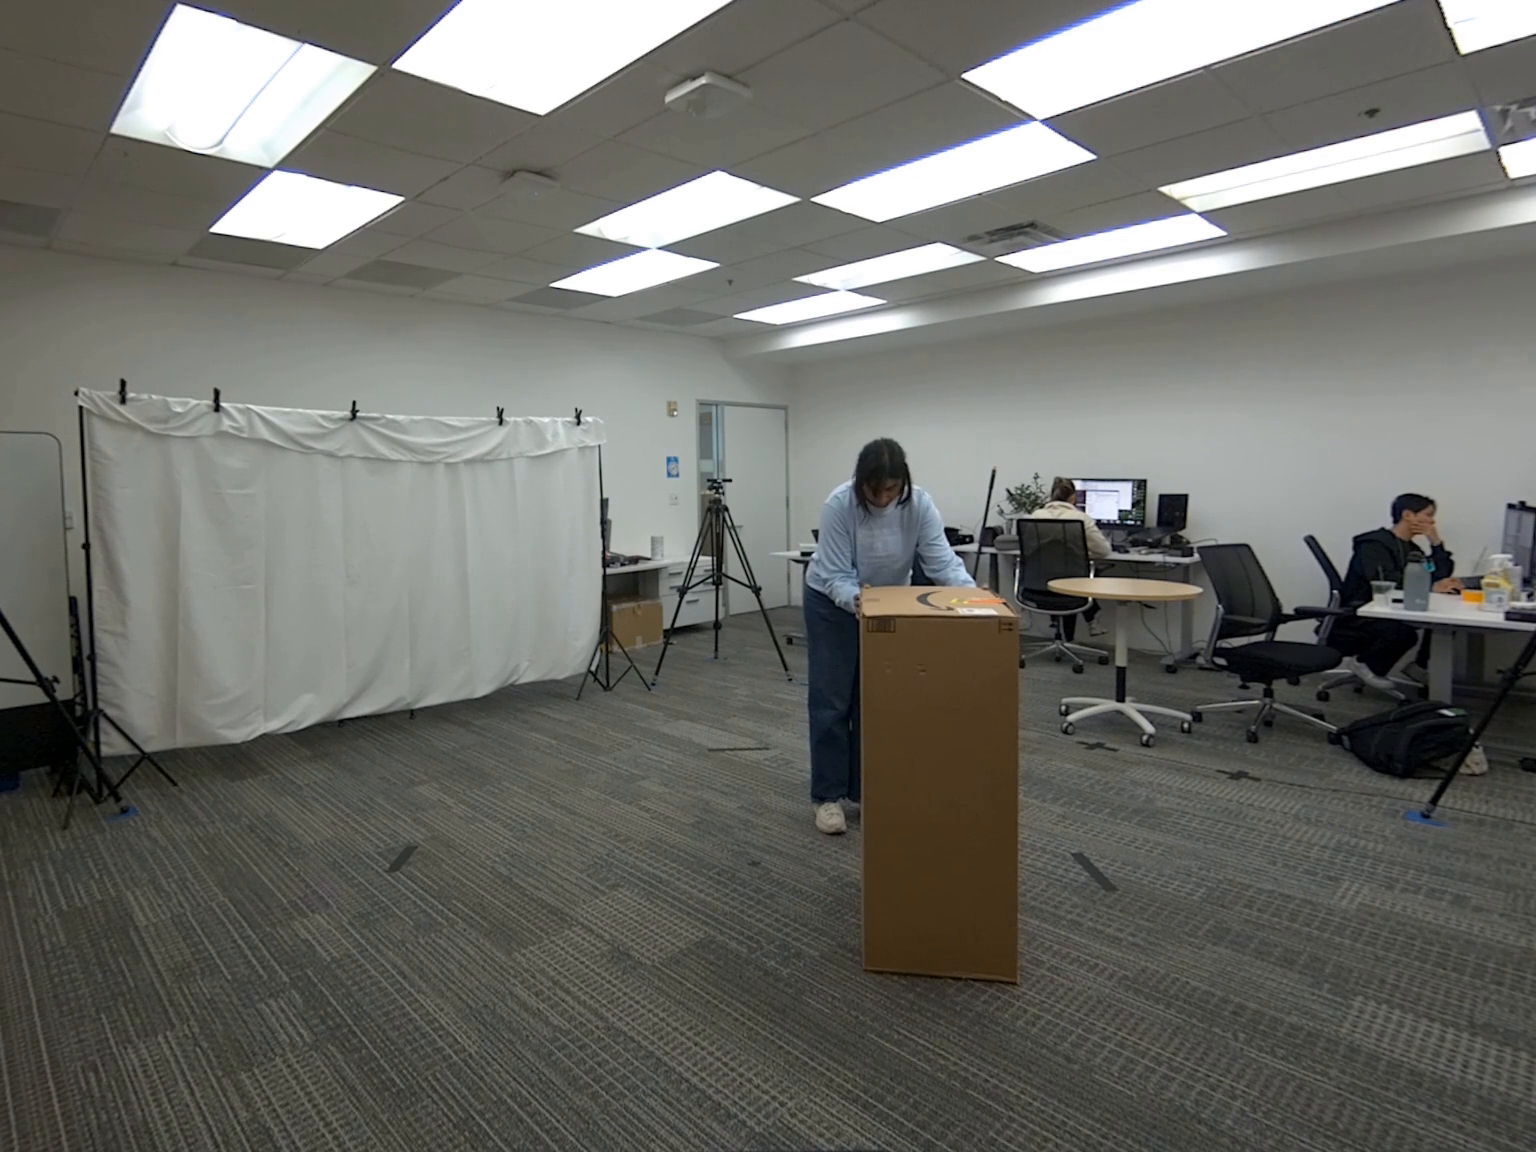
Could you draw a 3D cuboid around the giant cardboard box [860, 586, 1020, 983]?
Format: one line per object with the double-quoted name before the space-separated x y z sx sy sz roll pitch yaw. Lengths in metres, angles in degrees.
"giant cardboard box" 0.509 0.586 2.627 0.430 1.022 0.575 -1 4 8
